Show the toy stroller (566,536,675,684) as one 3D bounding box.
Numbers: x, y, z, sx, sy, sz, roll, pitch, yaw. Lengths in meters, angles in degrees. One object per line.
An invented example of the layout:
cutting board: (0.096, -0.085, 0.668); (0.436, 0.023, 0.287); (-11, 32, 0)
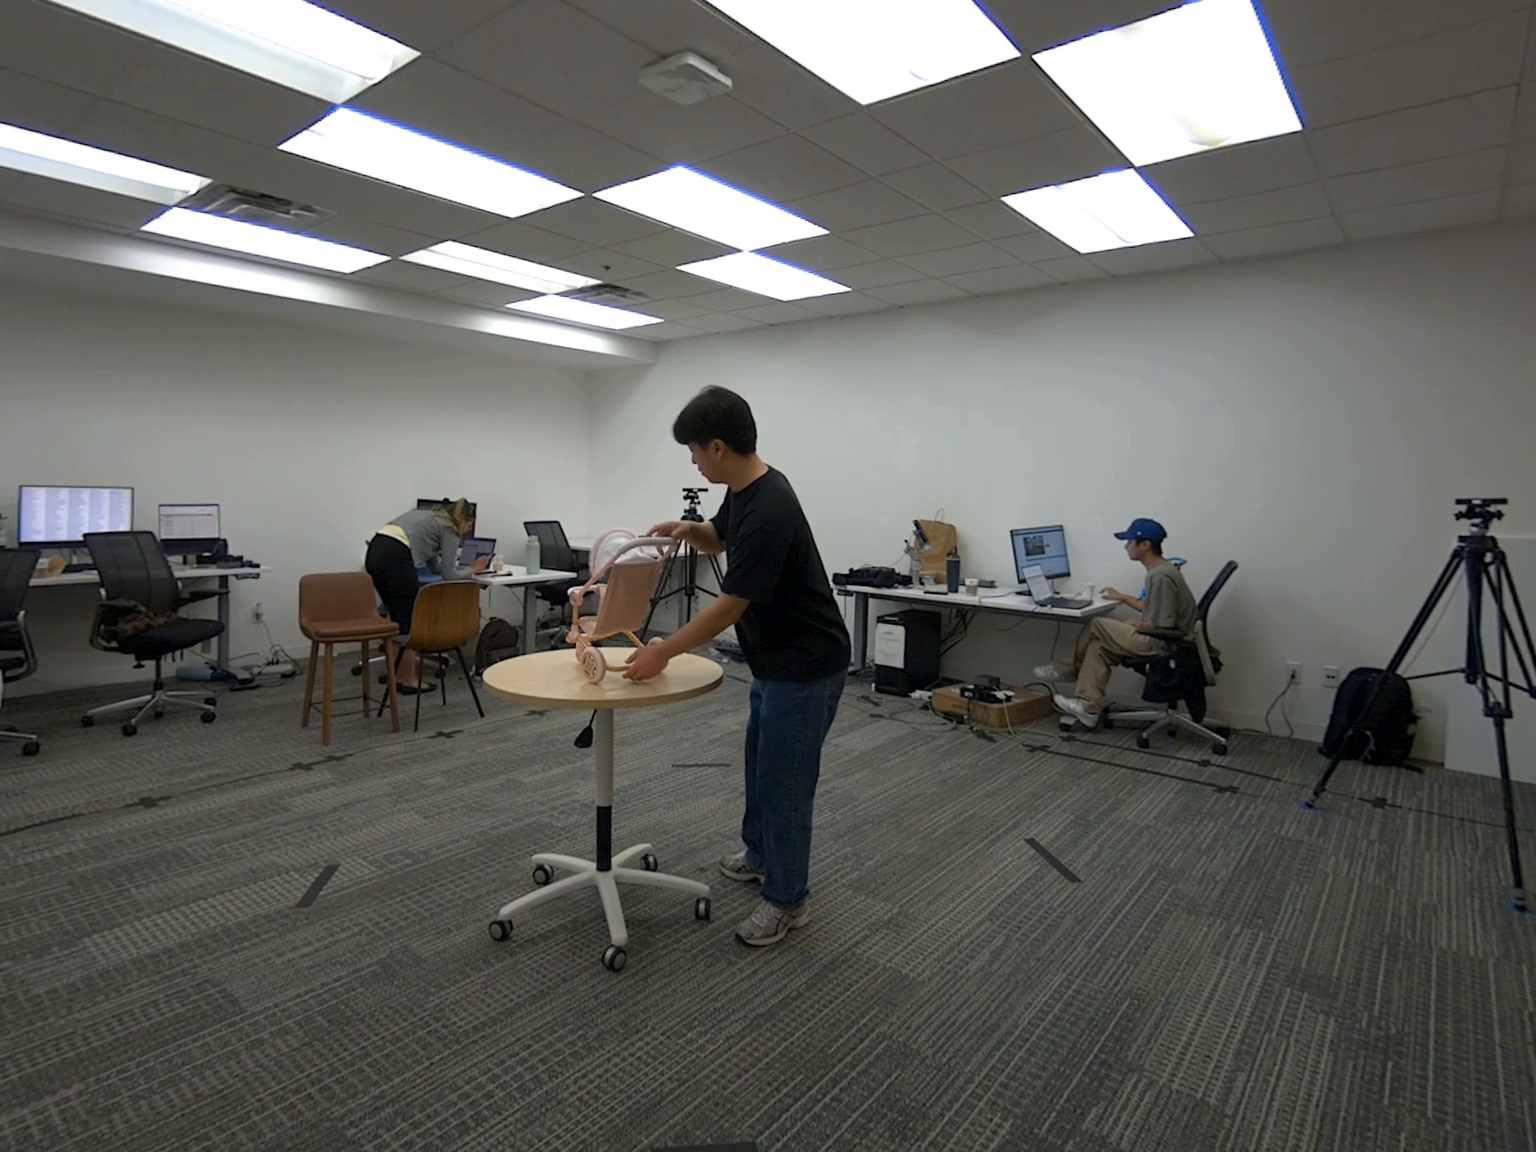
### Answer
toy stroller: (-0.496, 0.083, 2.695); (0.273, 0.529, 0.355); (-2, 19, -40)
